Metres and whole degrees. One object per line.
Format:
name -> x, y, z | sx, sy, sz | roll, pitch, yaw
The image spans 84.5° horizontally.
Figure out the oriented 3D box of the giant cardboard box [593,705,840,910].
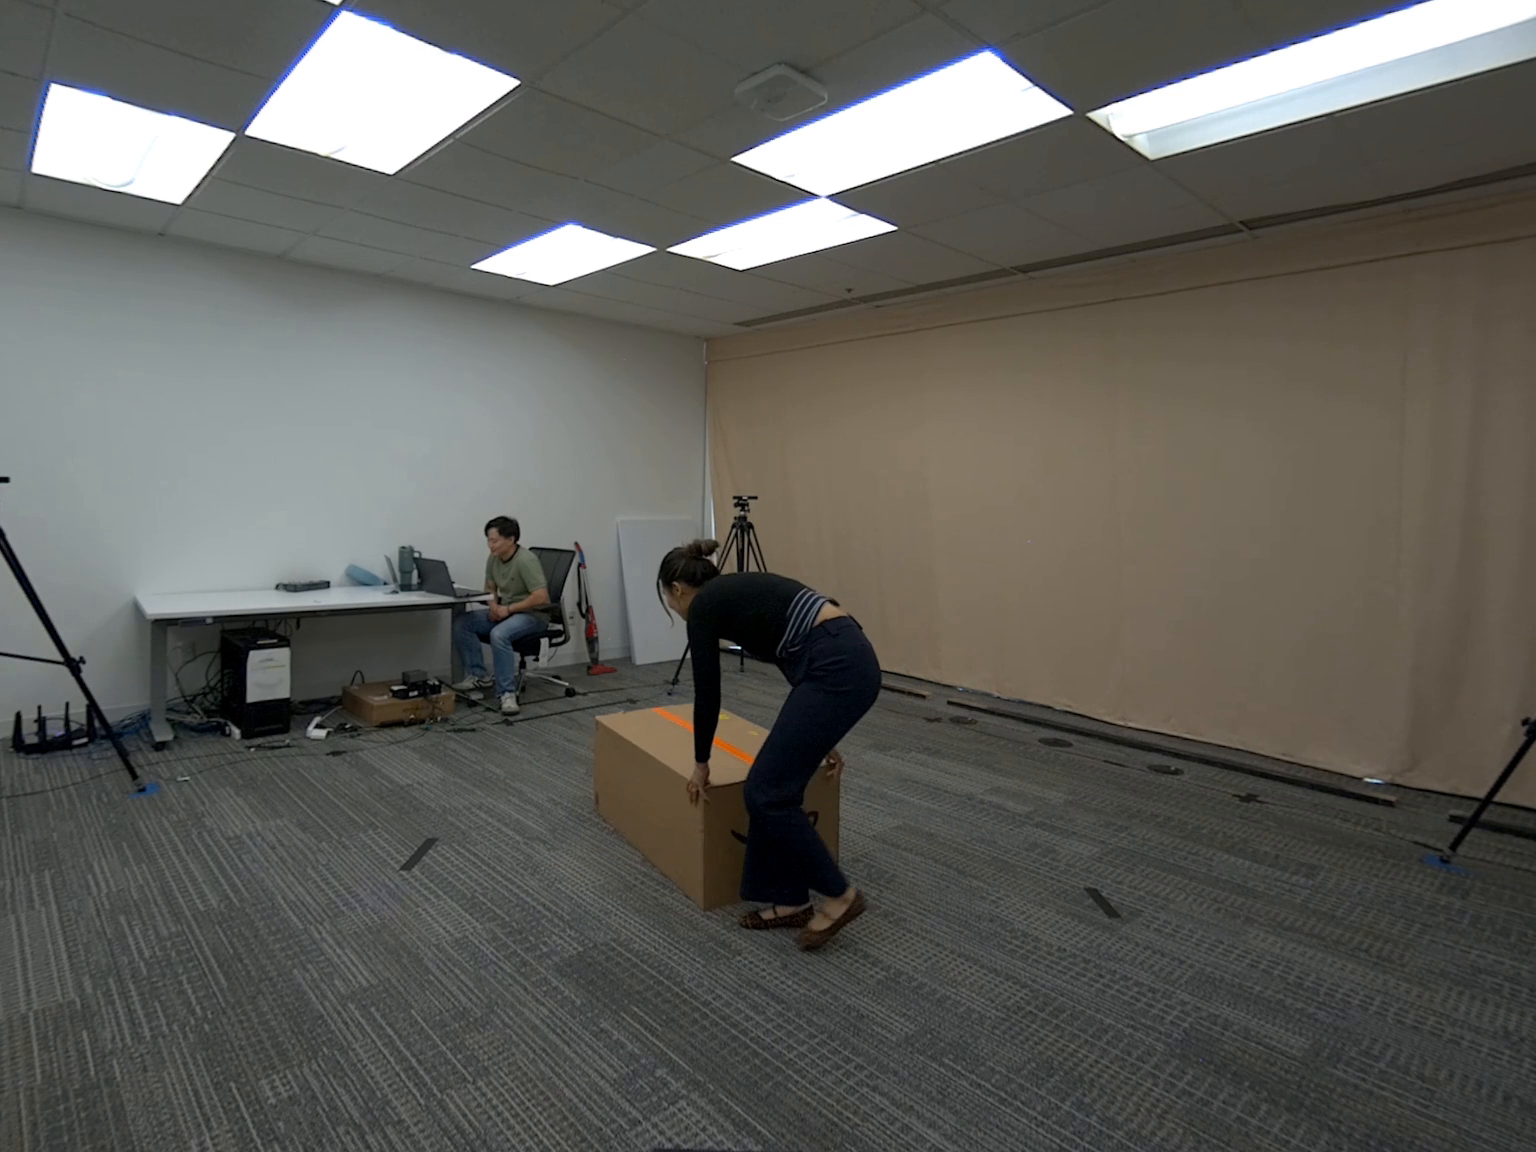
giant cardboard box -> -0.255, 0.860, 3.393 | 0.566, 0.425, 1.050 | -1, 6, -32
